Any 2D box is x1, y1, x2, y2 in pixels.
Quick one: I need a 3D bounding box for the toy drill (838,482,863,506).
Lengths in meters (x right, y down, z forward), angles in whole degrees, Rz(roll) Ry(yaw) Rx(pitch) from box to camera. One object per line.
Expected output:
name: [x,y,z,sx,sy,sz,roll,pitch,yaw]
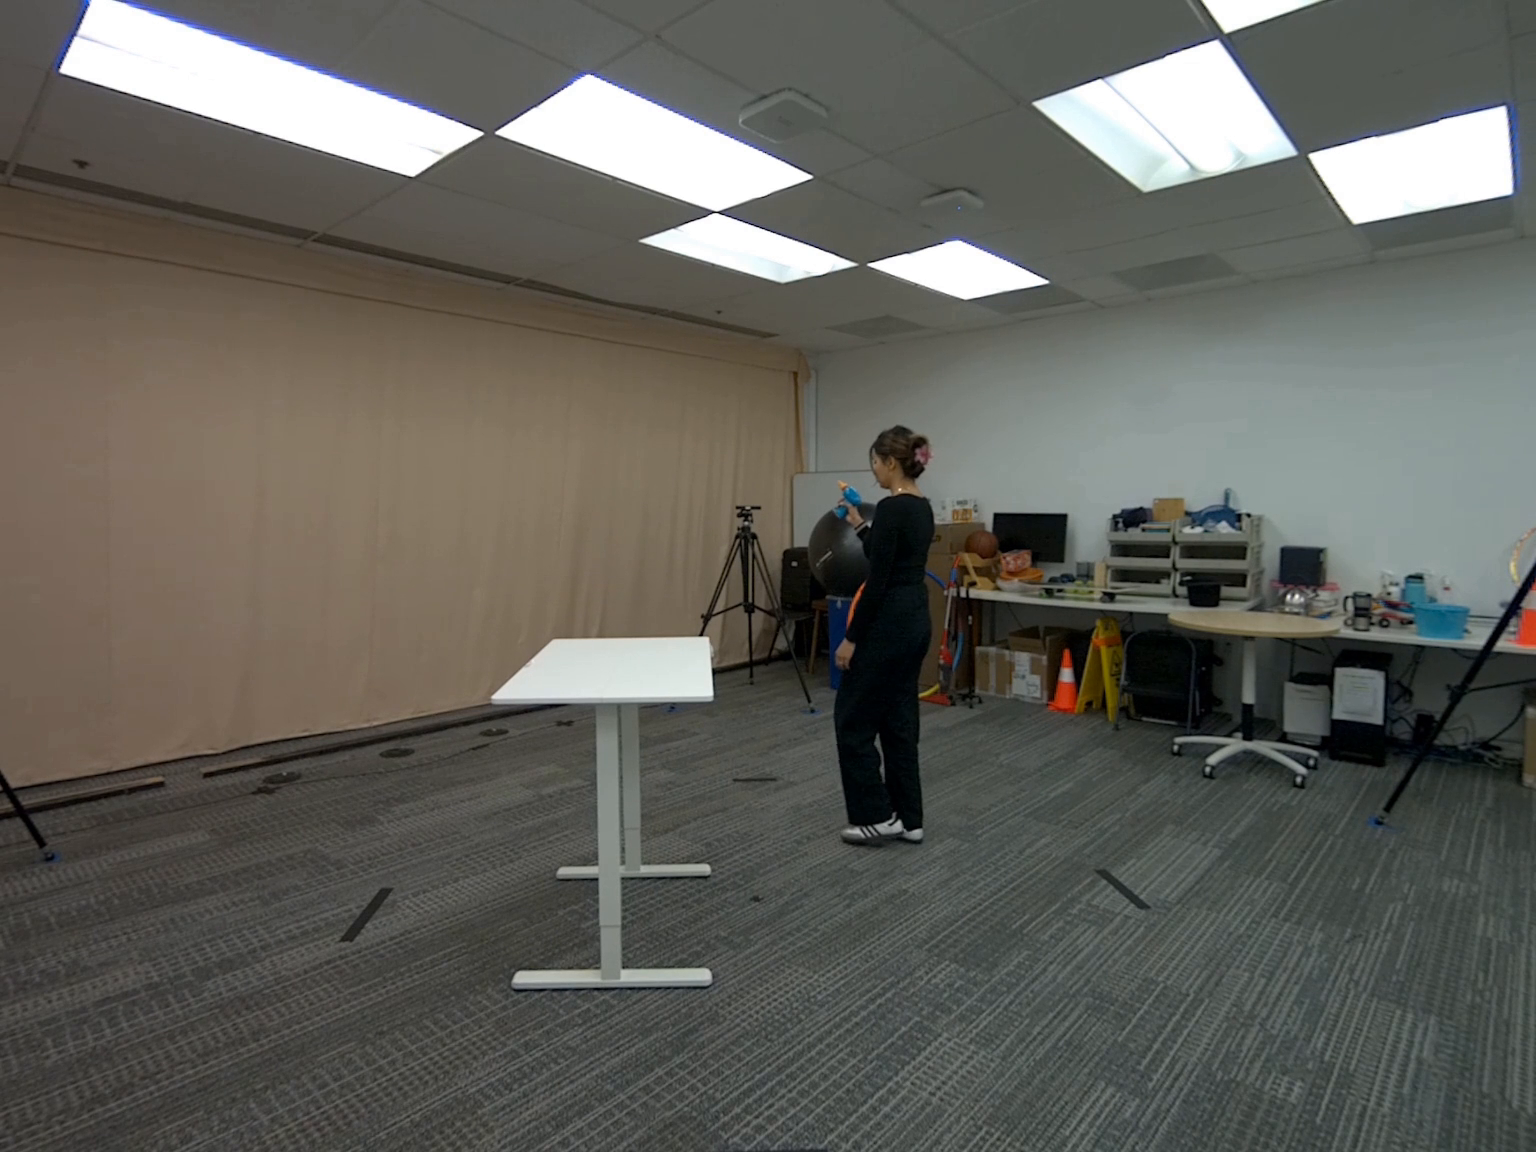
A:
toy drill: [0.352,-0.356,3.880,0.059,0.147,0.175,17,31,-55]
